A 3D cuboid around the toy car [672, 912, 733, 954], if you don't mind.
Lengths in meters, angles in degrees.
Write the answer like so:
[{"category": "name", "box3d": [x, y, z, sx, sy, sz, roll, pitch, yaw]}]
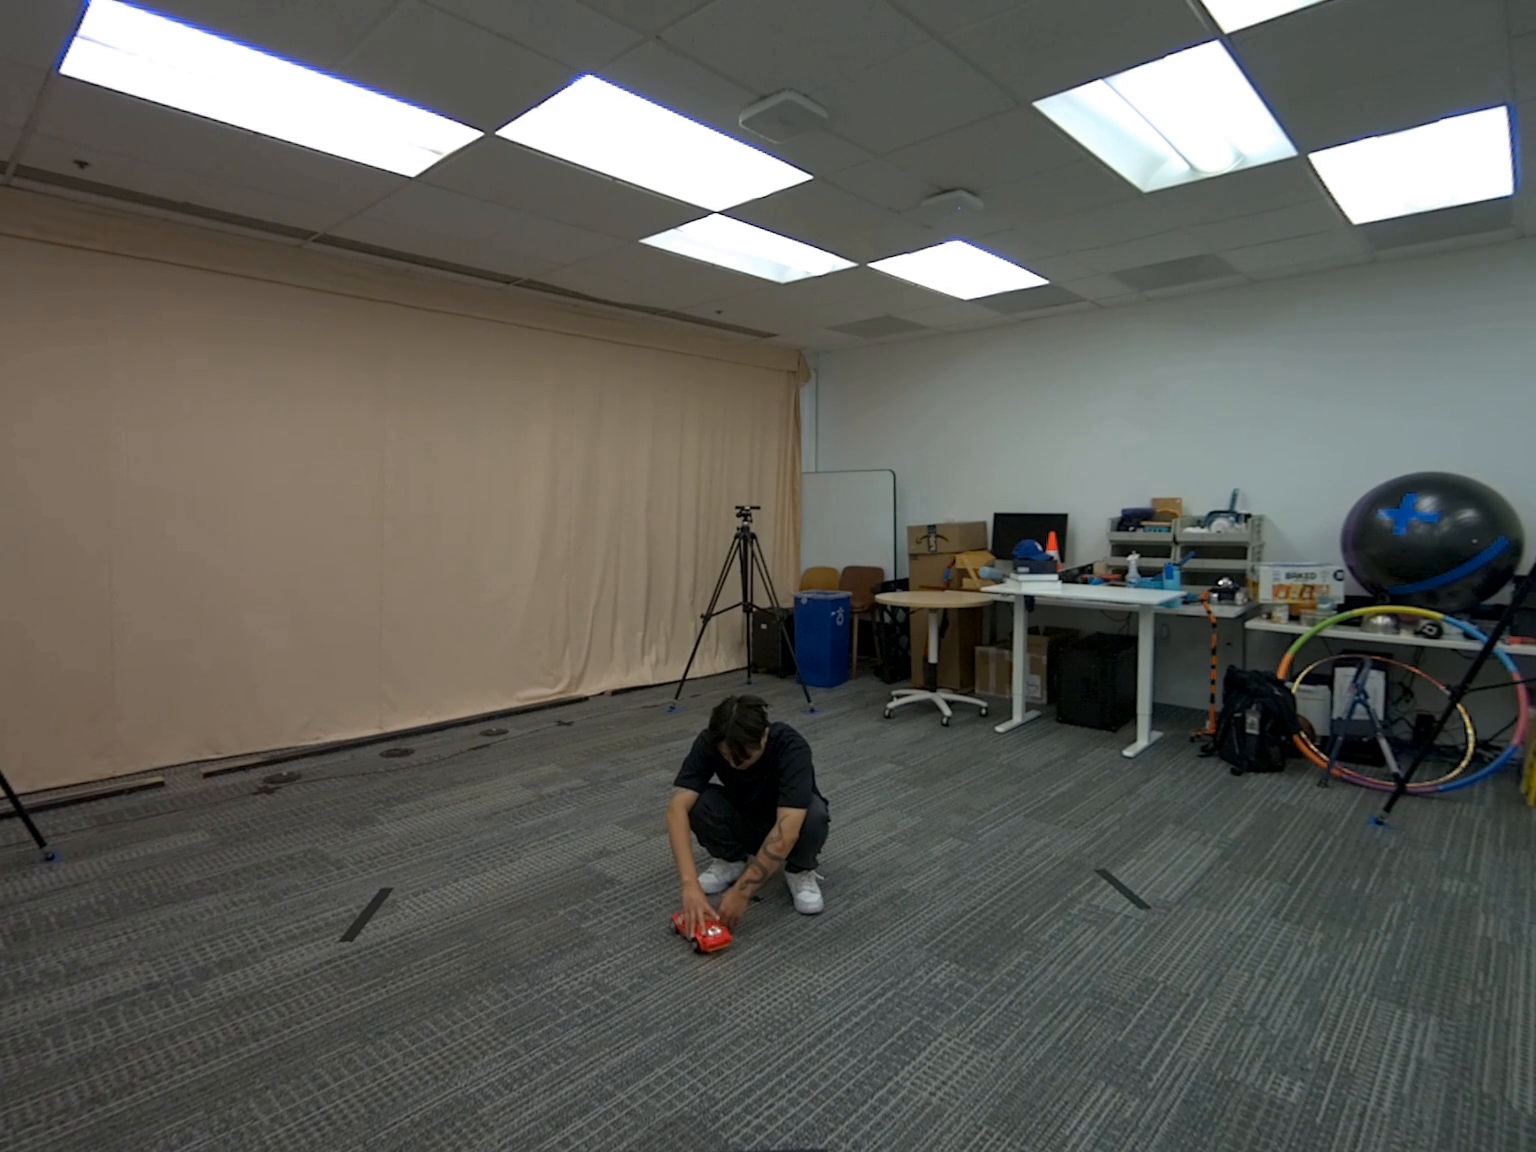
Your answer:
[{"category": "toy car", "box3d": [-0.212, 1.134, 2.687, 0.126, 0.083, 0.261, -3, -5, -35]}]
